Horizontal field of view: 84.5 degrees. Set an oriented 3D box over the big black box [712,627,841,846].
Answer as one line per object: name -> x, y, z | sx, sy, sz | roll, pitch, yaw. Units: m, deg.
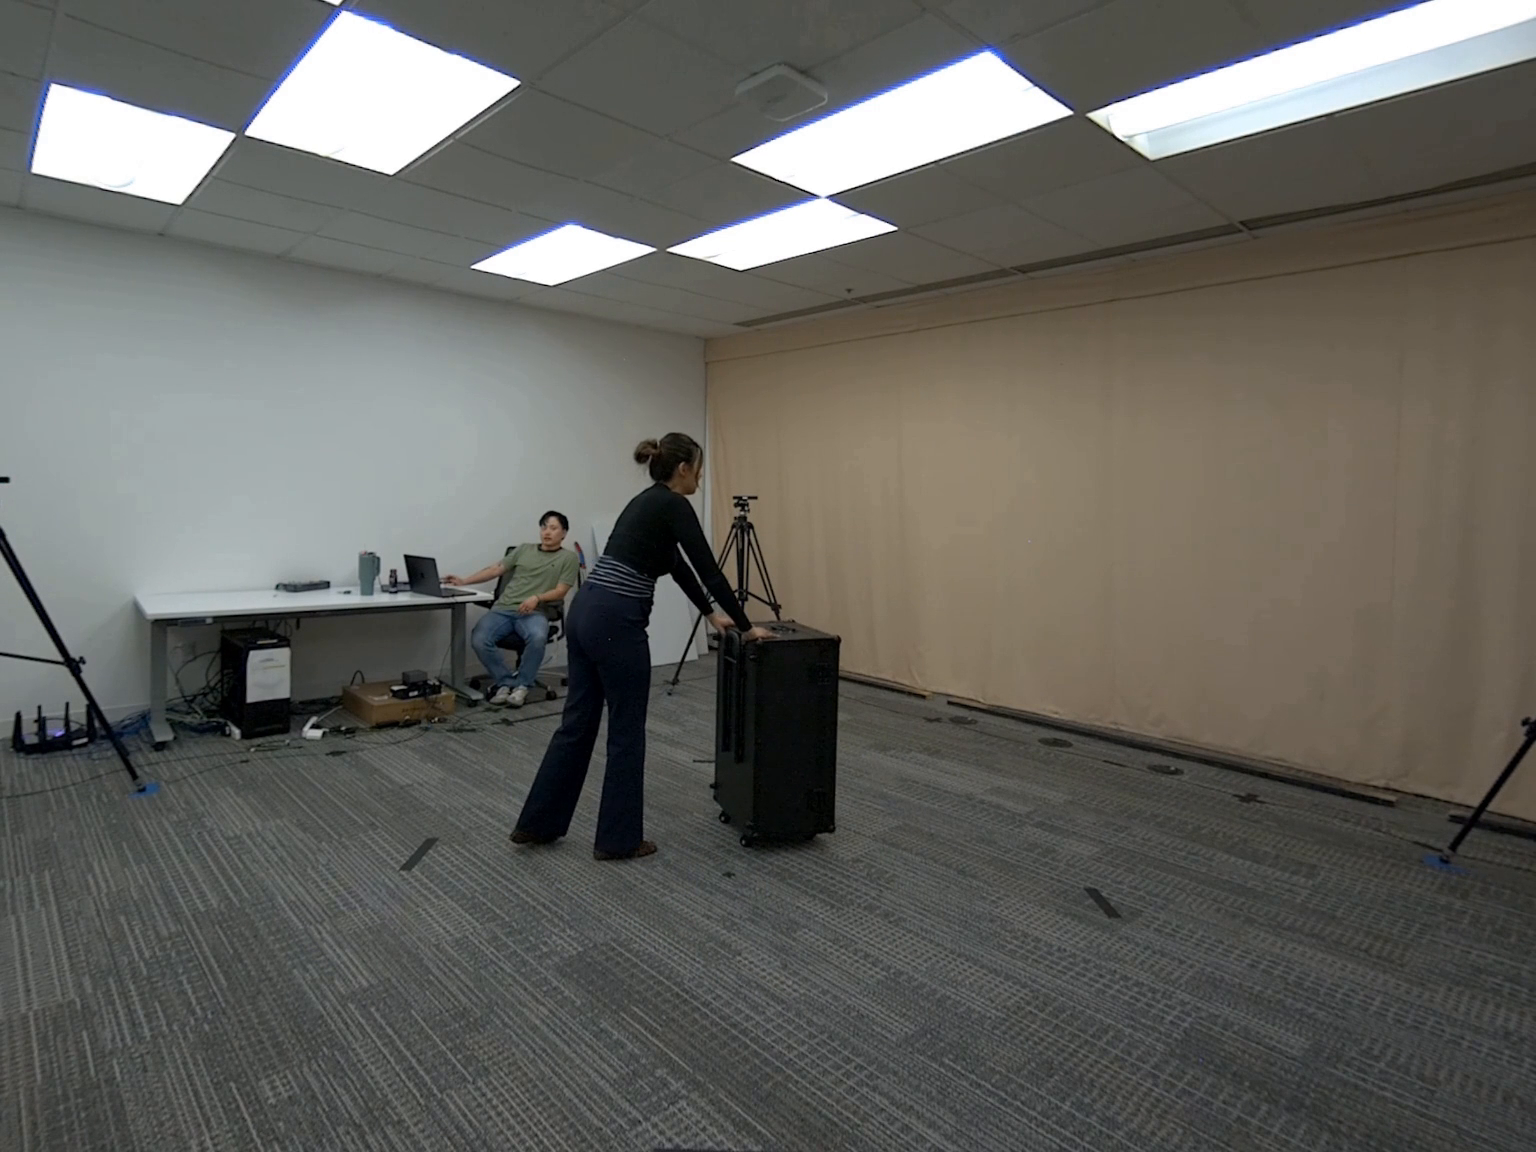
big black box -> 0.009, 0.647, 3.492 | 0.390, 0.859, 0.531 | -1, 4, -21
